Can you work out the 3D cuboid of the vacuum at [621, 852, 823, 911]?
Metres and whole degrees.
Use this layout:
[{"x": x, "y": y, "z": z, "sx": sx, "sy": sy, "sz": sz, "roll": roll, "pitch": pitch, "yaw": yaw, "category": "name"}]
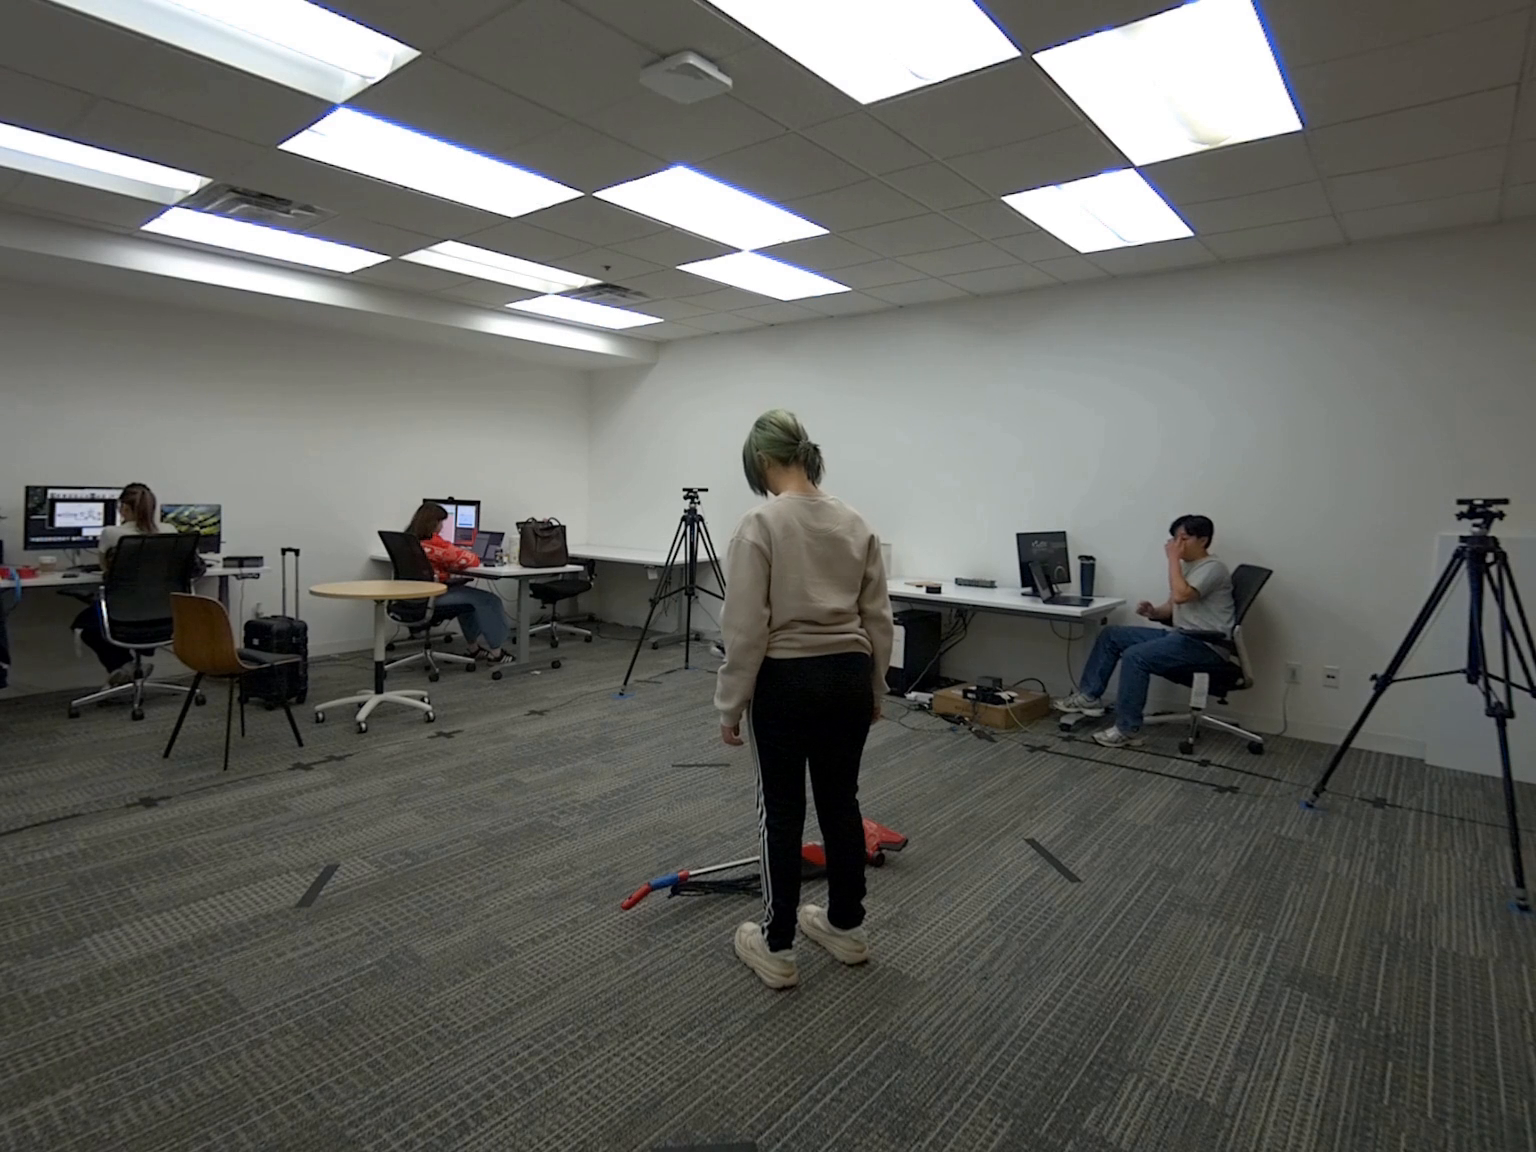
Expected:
[{"x": -0.023, "y": 1.026, "z": 2.962, "sx": 1.021, "sy": 0.143, "sz": 0.261, "roll": -3, "pitch": 7, "yaw": -32, "category": "vacuum"}]
